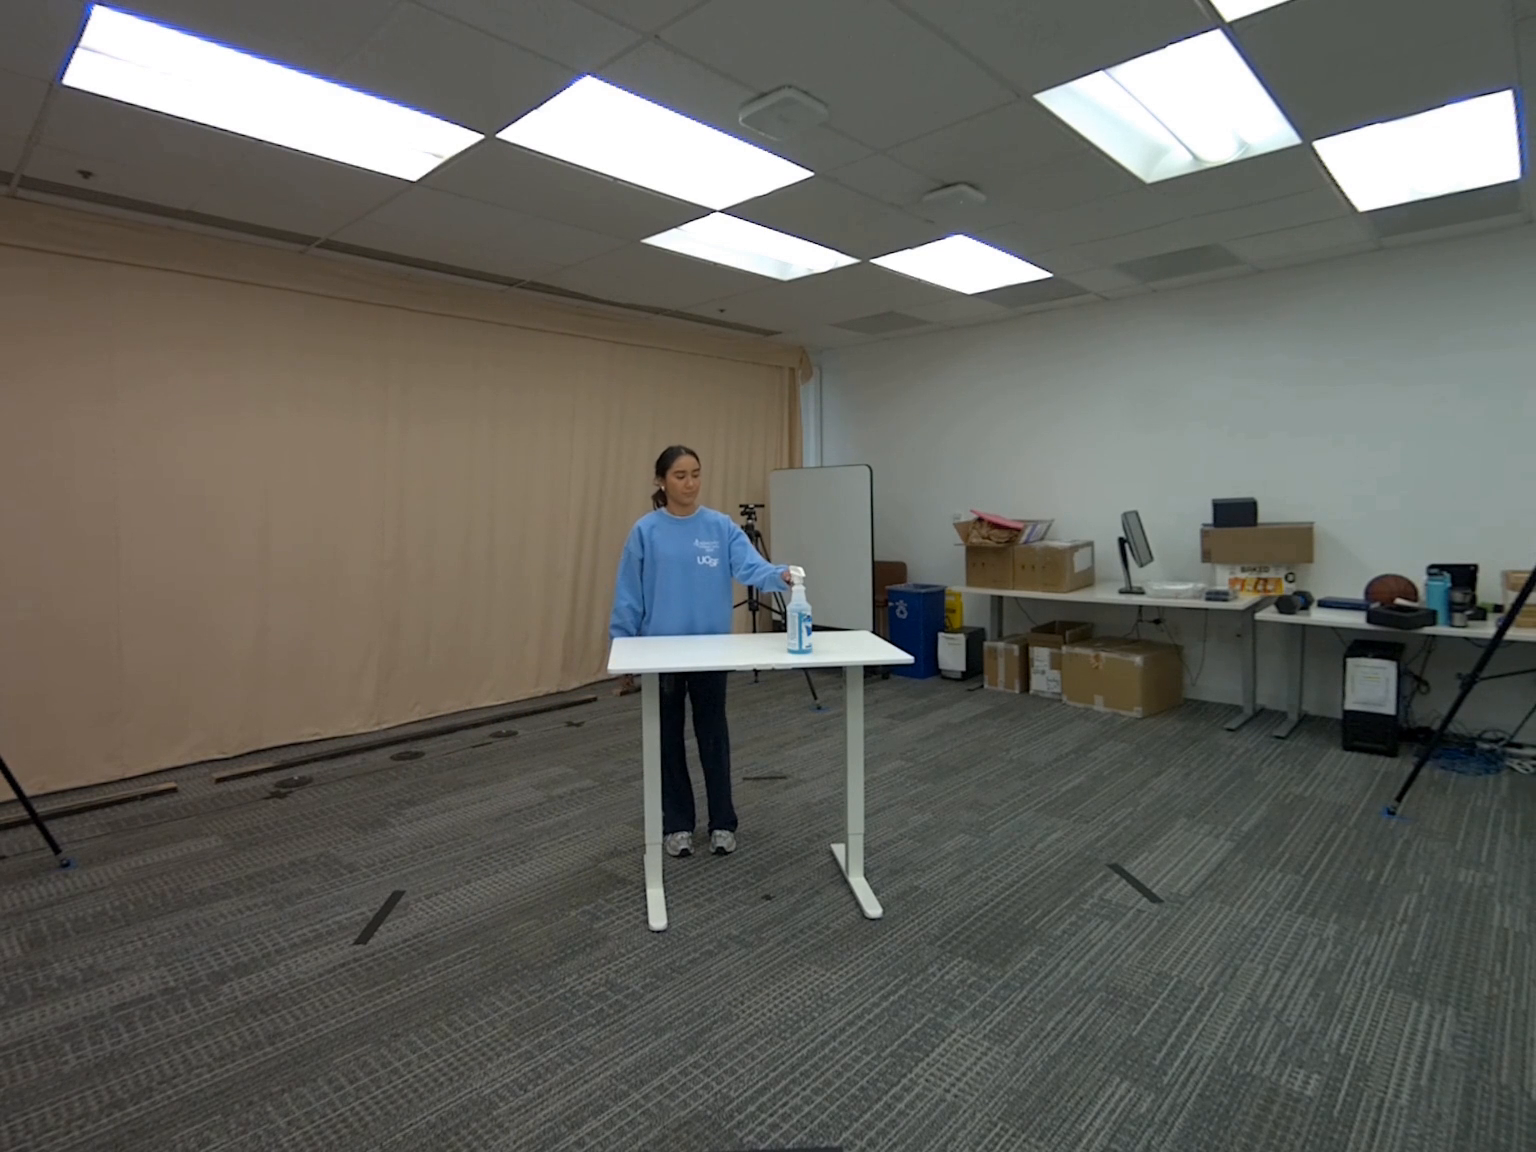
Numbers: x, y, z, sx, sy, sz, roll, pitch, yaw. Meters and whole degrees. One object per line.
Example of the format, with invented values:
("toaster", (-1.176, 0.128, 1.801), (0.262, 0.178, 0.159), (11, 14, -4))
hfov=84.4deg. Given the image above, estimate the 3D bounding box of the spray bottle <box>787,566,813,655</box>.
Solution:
("spray bottle", (0.112, 0.118, 2.905), (0.087, 0.297, 0.090), (-1, 2, 0))
